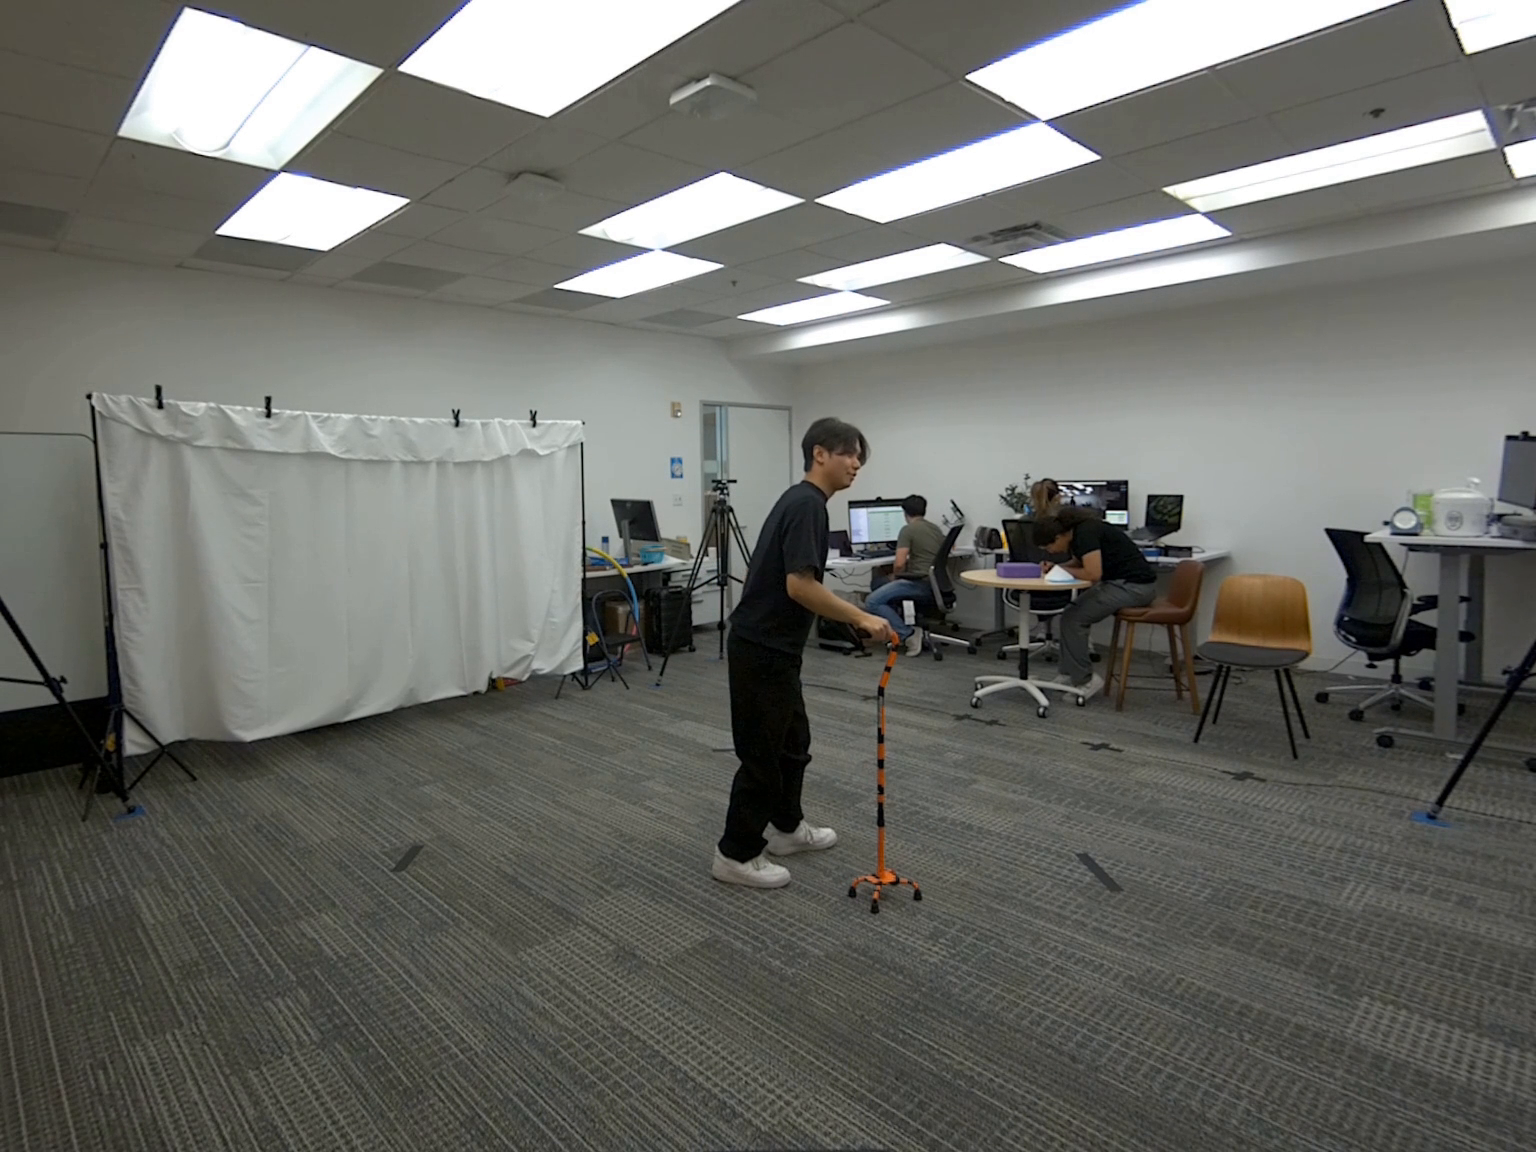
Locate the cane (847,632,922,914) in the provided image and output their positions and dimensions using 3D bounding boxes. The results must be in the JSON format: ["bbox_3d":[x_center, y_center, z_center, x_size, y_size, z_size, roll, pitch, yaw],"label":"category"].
[{"bbox_3d":[0.394,0.620,2.815,0.201,0.904,0.156,-1,5,-29],"label":"cane"}]
